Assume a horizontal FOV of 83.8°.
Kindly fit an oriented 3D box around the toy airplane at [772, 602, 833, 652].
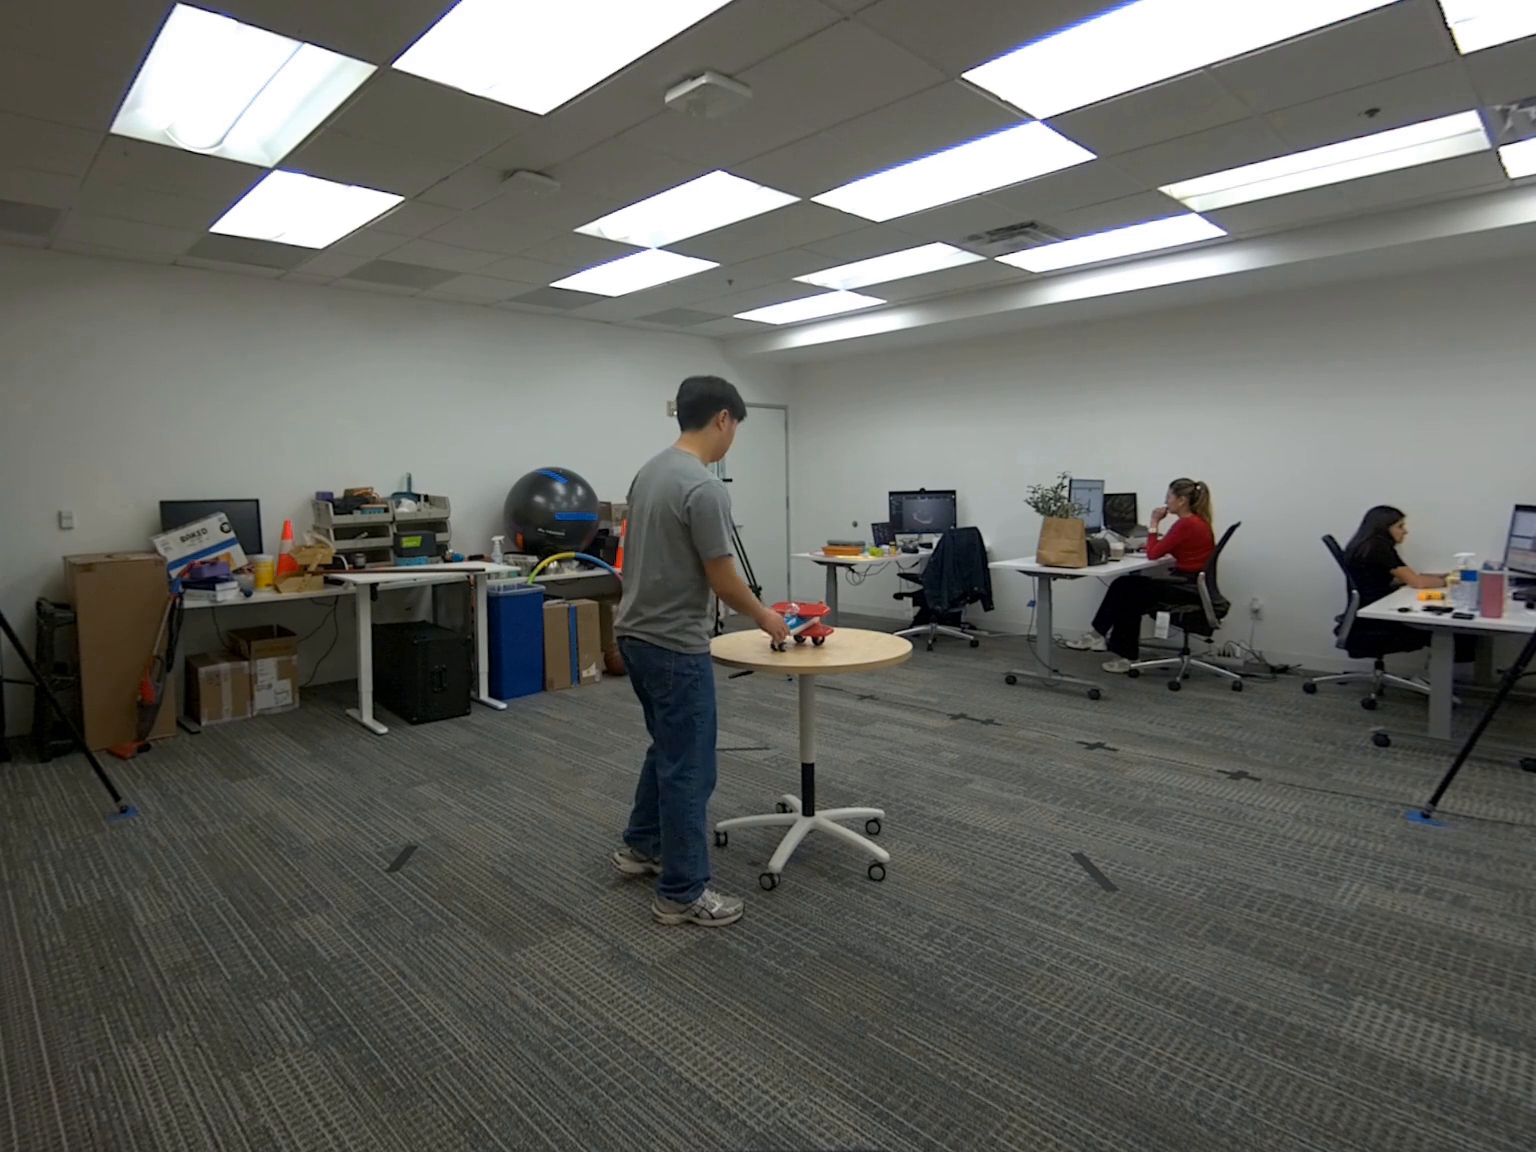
[{"bbox_3d":[0.115,0.182,3.092,0.254,0.156,0.256,-1,4,14],"label":"toy airplane"}]
